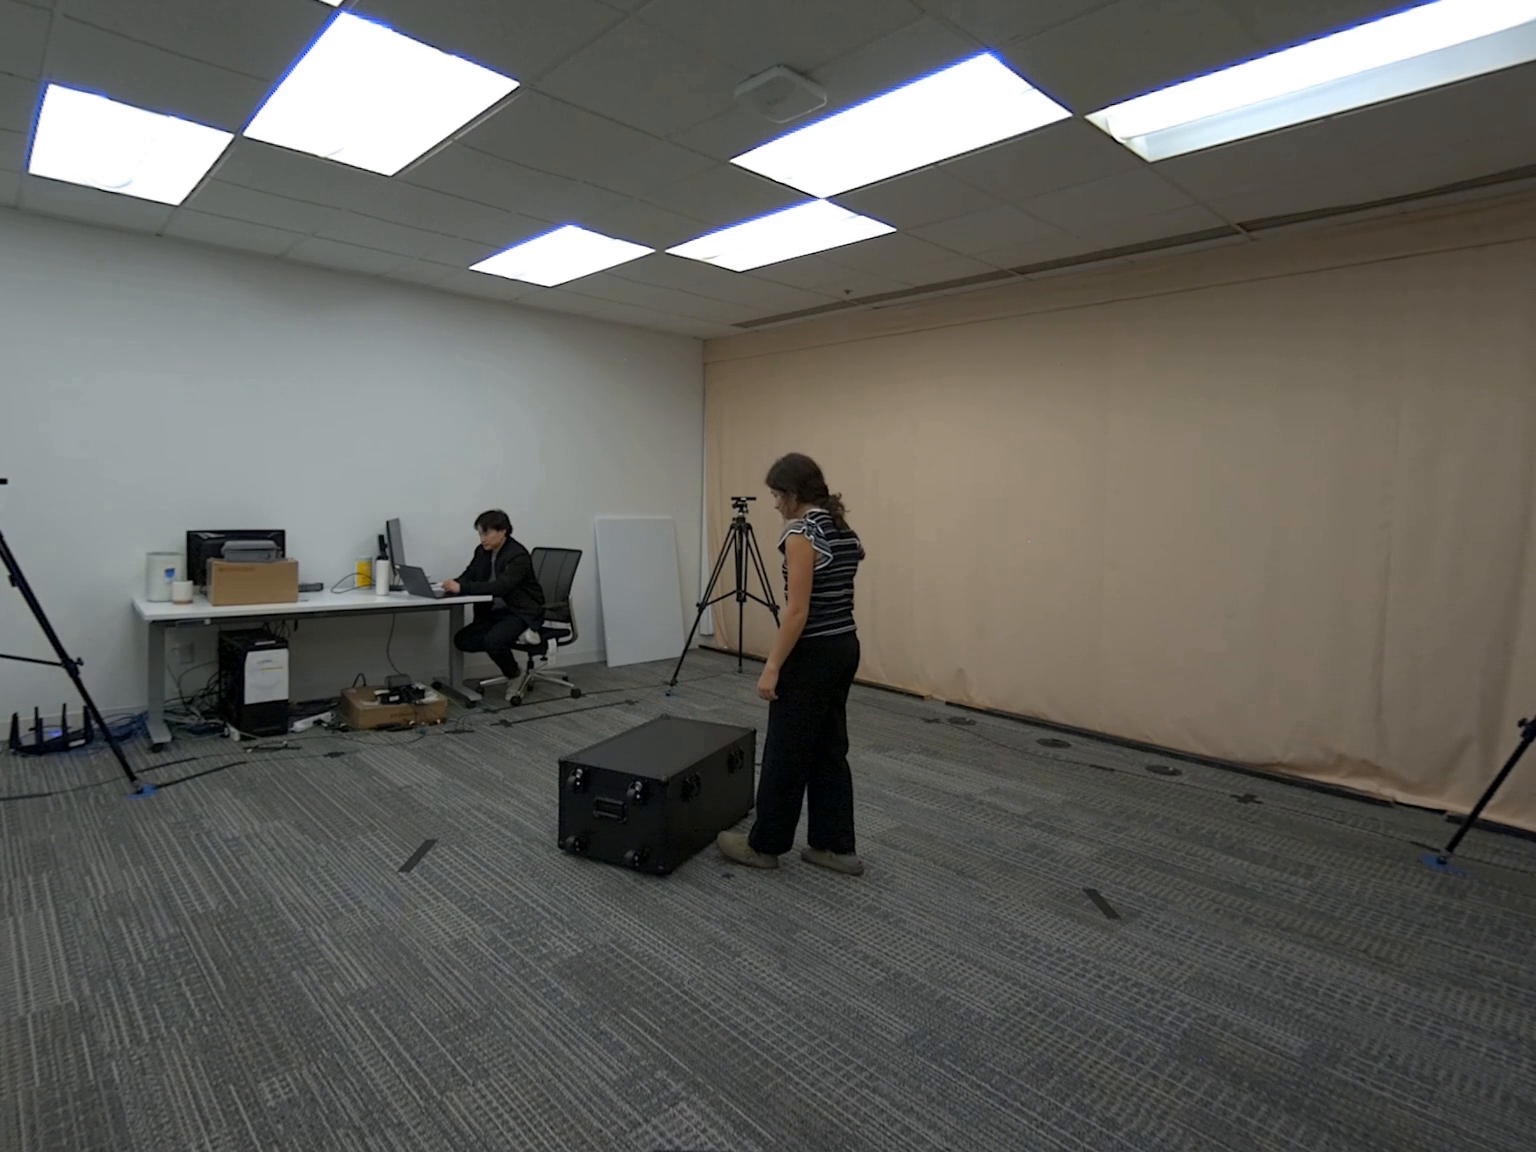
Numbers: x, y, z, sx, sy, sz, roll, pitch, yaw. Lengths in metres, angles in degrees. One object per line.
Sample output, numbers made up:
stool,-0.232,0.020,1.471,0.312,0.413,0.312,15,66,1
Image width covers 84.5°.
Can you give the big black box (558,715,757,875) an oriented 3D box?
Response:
big black box,-0.453,0.877,3.457,0.531,0.395,0.847,4,5,25
